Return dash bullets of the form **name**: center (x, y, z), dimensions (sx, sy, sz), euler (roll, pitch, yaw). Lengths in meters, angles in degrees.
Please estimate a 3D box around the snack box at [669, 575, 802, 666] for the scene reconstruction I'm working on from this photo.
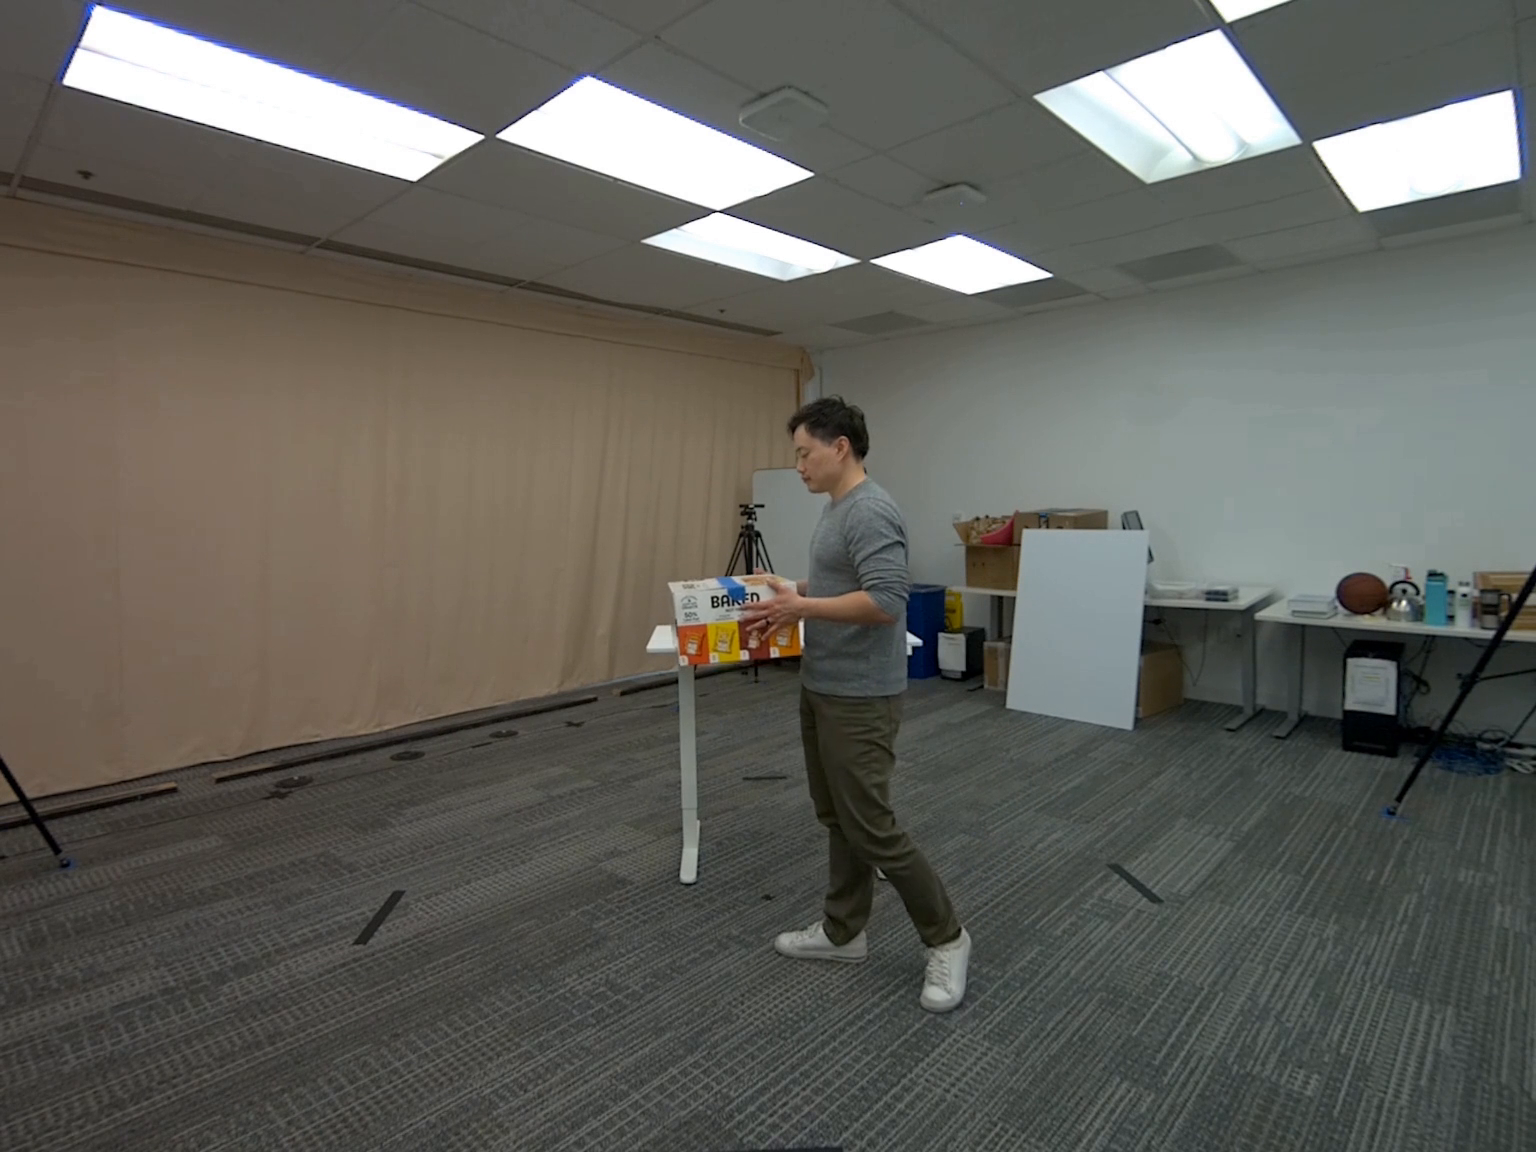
- **snack box**: center (-0.109, 0.128, 2.494), dimensions (0.339, 0.205, 0.408), euler (-4, 4, -6)
